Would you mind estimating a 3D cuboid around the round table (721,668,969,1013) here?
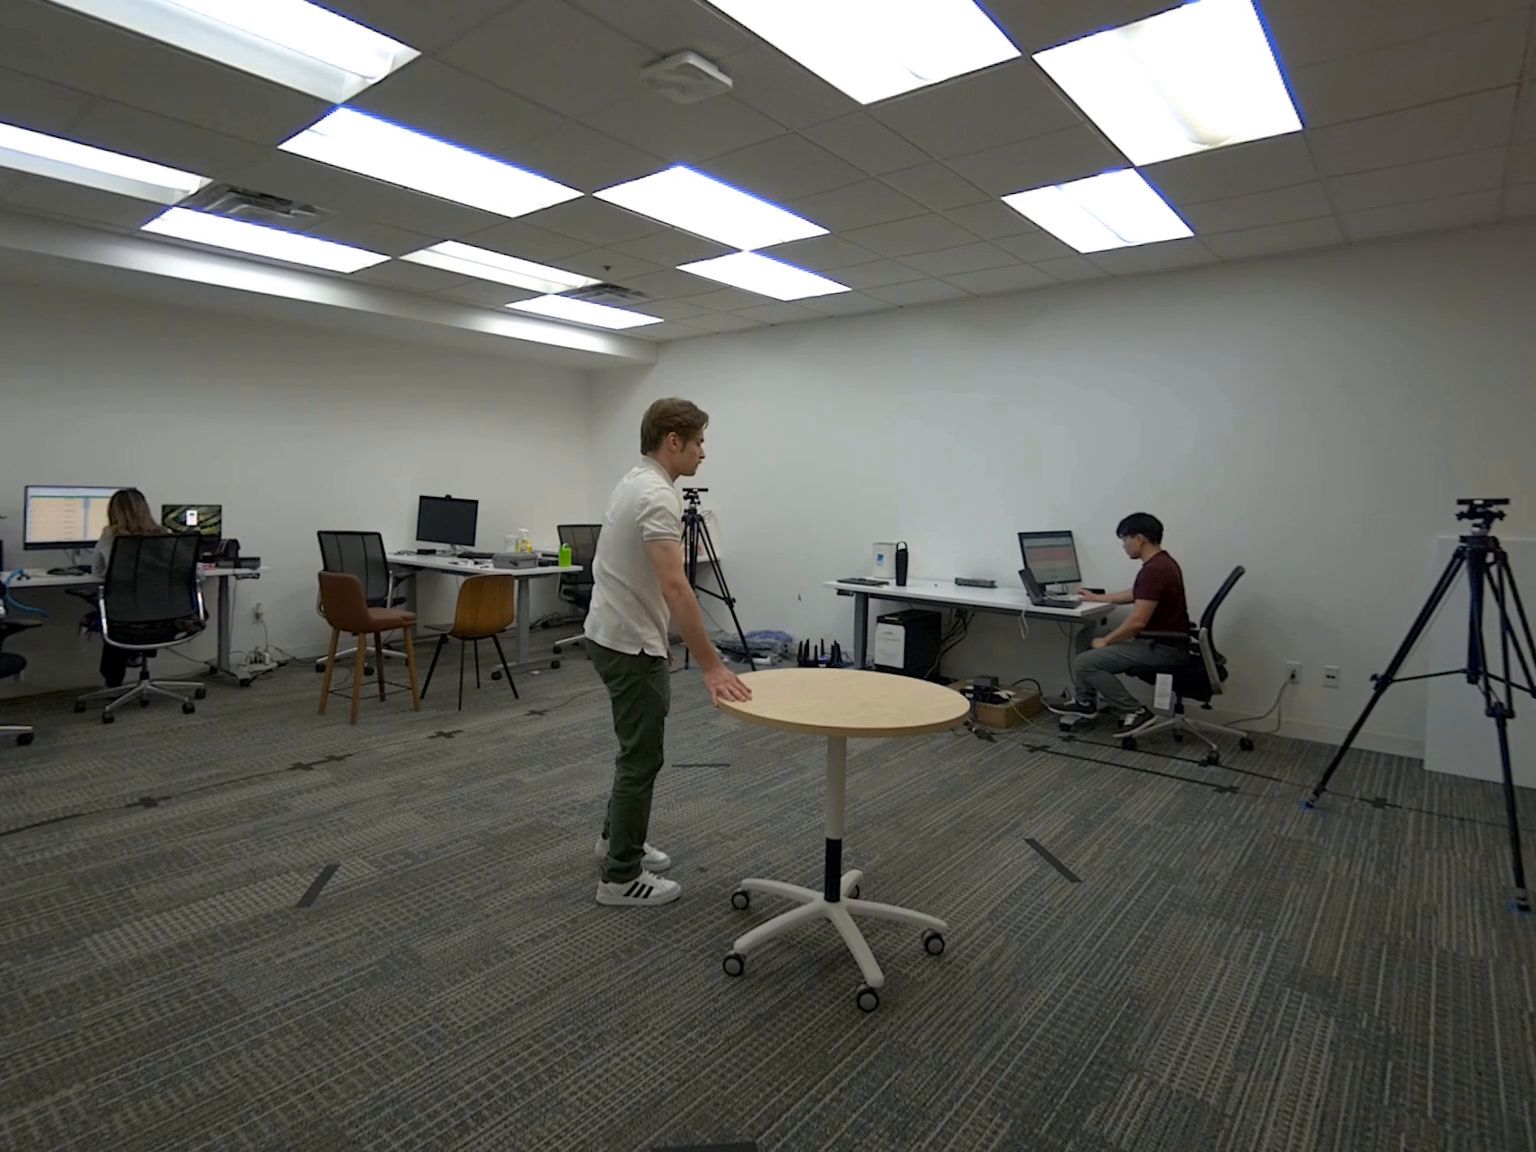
[{"bbox_3d":[0.198,0.746,2.595,0.763,0.791,0.768,2,4,-2],"label":"round table"}]
